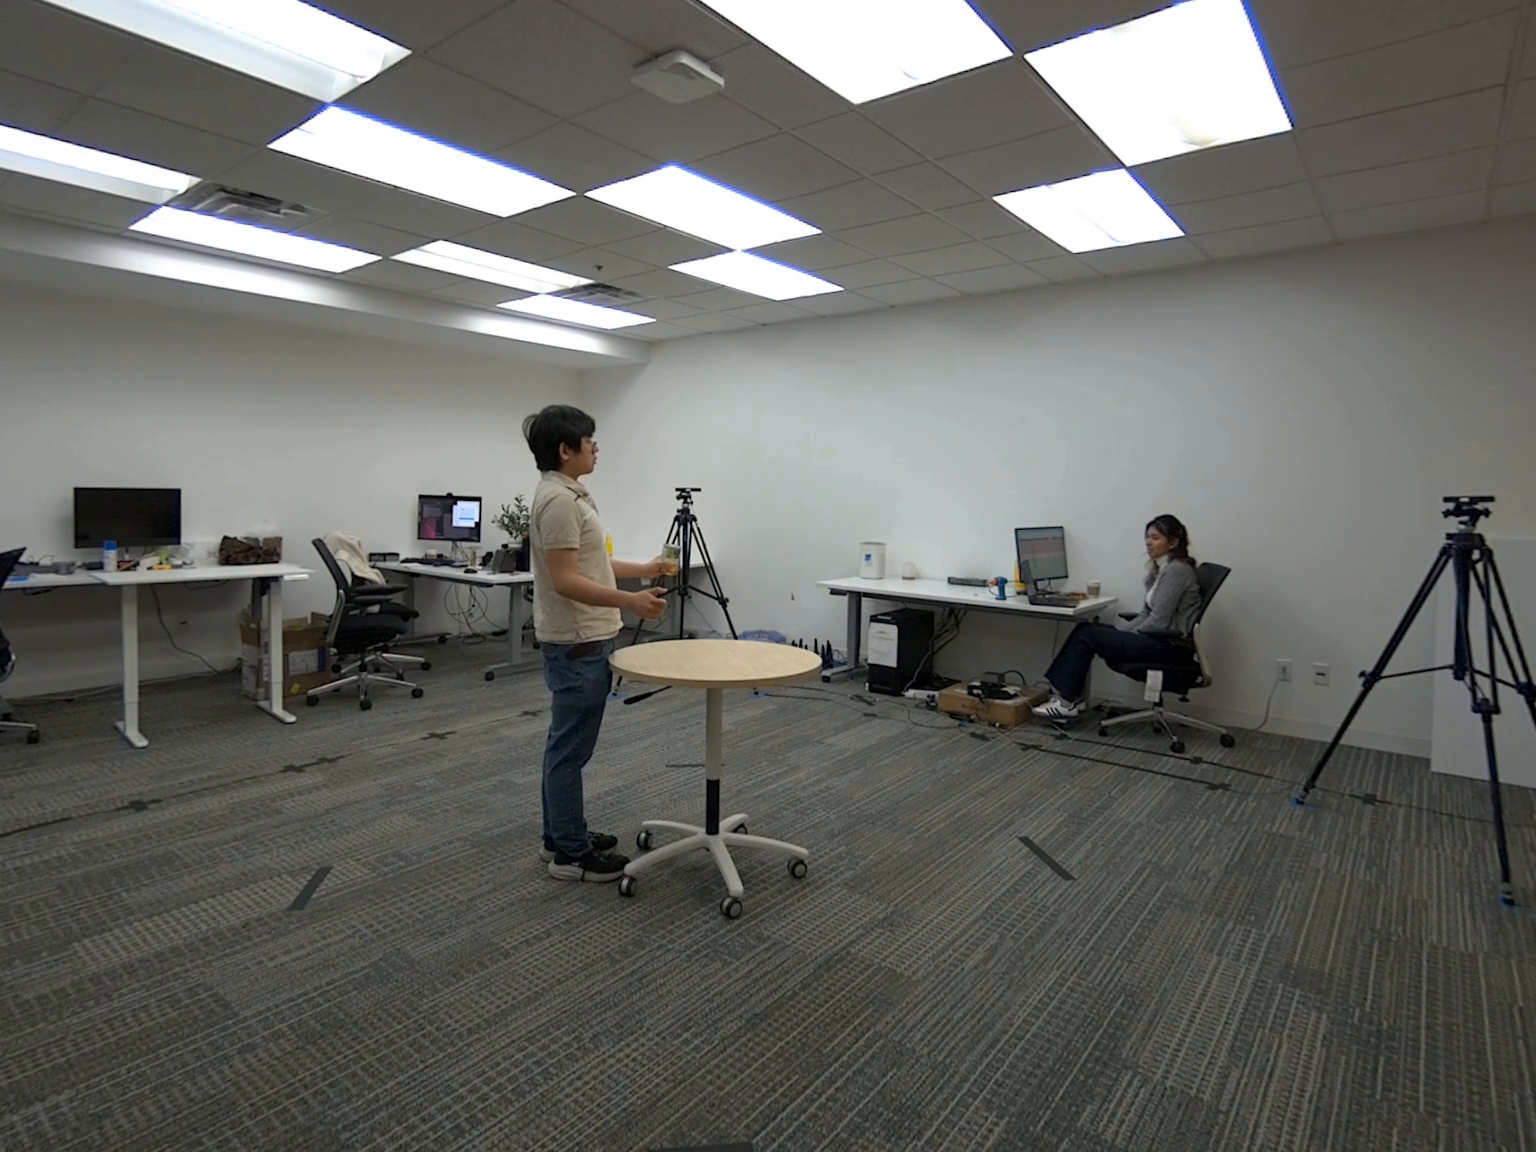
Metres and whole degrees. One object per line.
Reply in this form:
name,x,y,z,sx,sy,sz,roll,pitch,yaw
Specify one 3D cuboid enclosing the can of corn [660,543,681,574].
can of corn,-0.409,-0.068,3.398,0.074,0.110,0.075,8,7,-3
